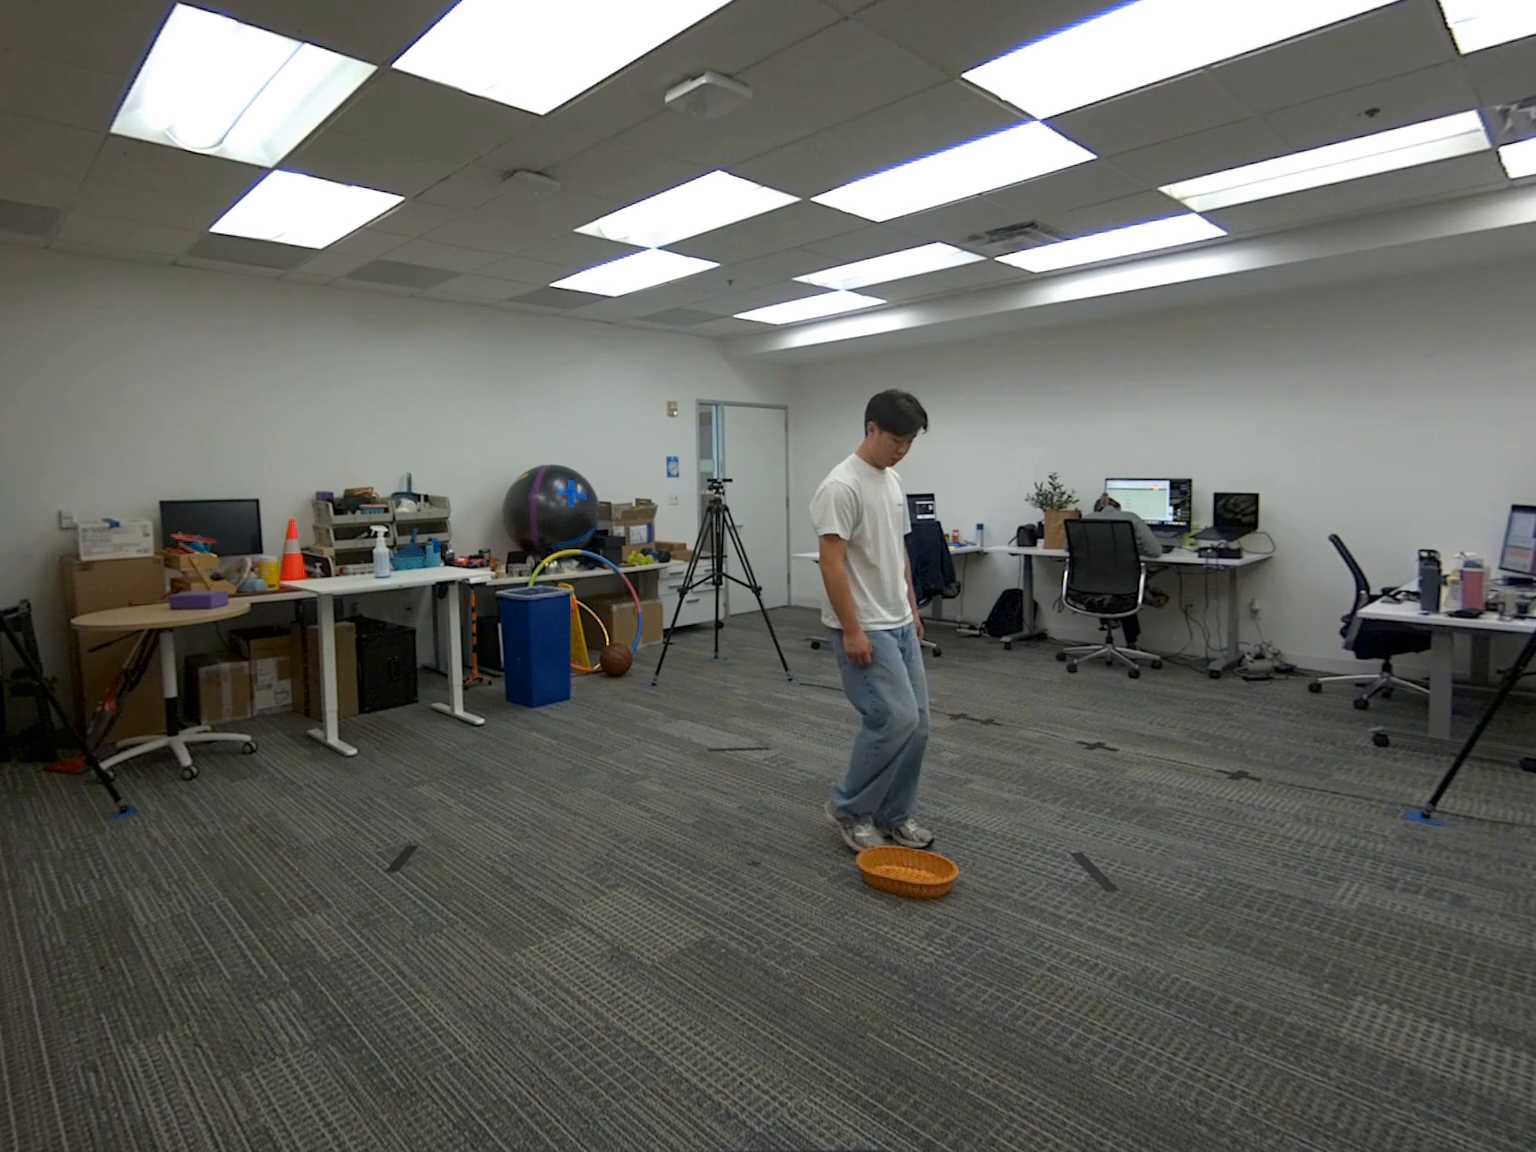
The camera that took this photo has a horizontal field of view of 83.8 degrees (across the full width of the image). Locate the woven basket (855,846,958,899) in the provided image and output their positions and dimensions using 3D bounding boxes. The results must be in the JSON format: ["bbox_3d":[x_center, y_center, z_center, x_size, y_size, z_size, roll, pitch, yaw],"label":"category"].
[{"bbox_3d":[0.473,1.022,2.933,0.360,0.073,0.247,2,7,31],"label":"woven basket"}]
